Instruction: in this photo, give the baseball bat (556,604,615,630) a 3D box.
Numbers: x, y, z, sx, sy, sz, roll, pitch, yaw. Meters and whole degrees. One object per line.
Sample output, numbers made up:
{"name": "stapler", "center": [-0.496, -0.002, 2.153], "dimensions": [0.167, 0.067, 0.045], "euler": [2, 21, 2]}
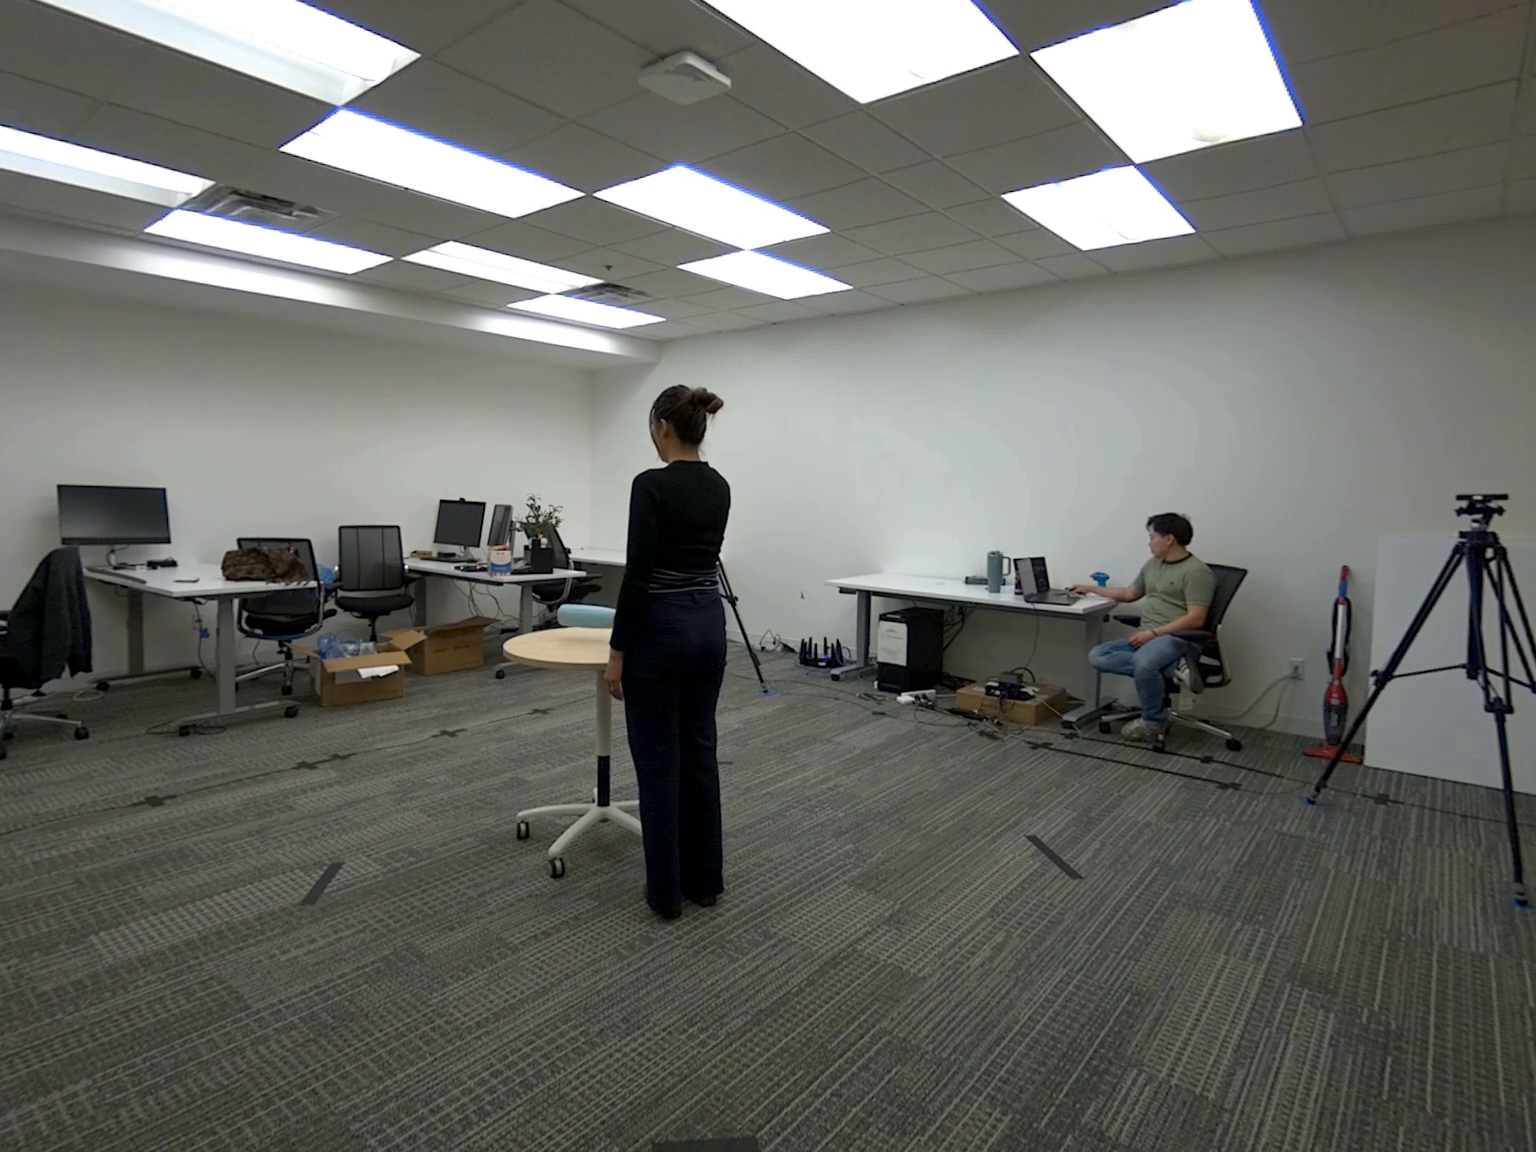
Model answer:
{"name": "baseball bat", "center": [-0.583, 0.163, 3.326], "dimensions": [0.553, 0.089, 0.088], "euler": [3, 5, 16]}
